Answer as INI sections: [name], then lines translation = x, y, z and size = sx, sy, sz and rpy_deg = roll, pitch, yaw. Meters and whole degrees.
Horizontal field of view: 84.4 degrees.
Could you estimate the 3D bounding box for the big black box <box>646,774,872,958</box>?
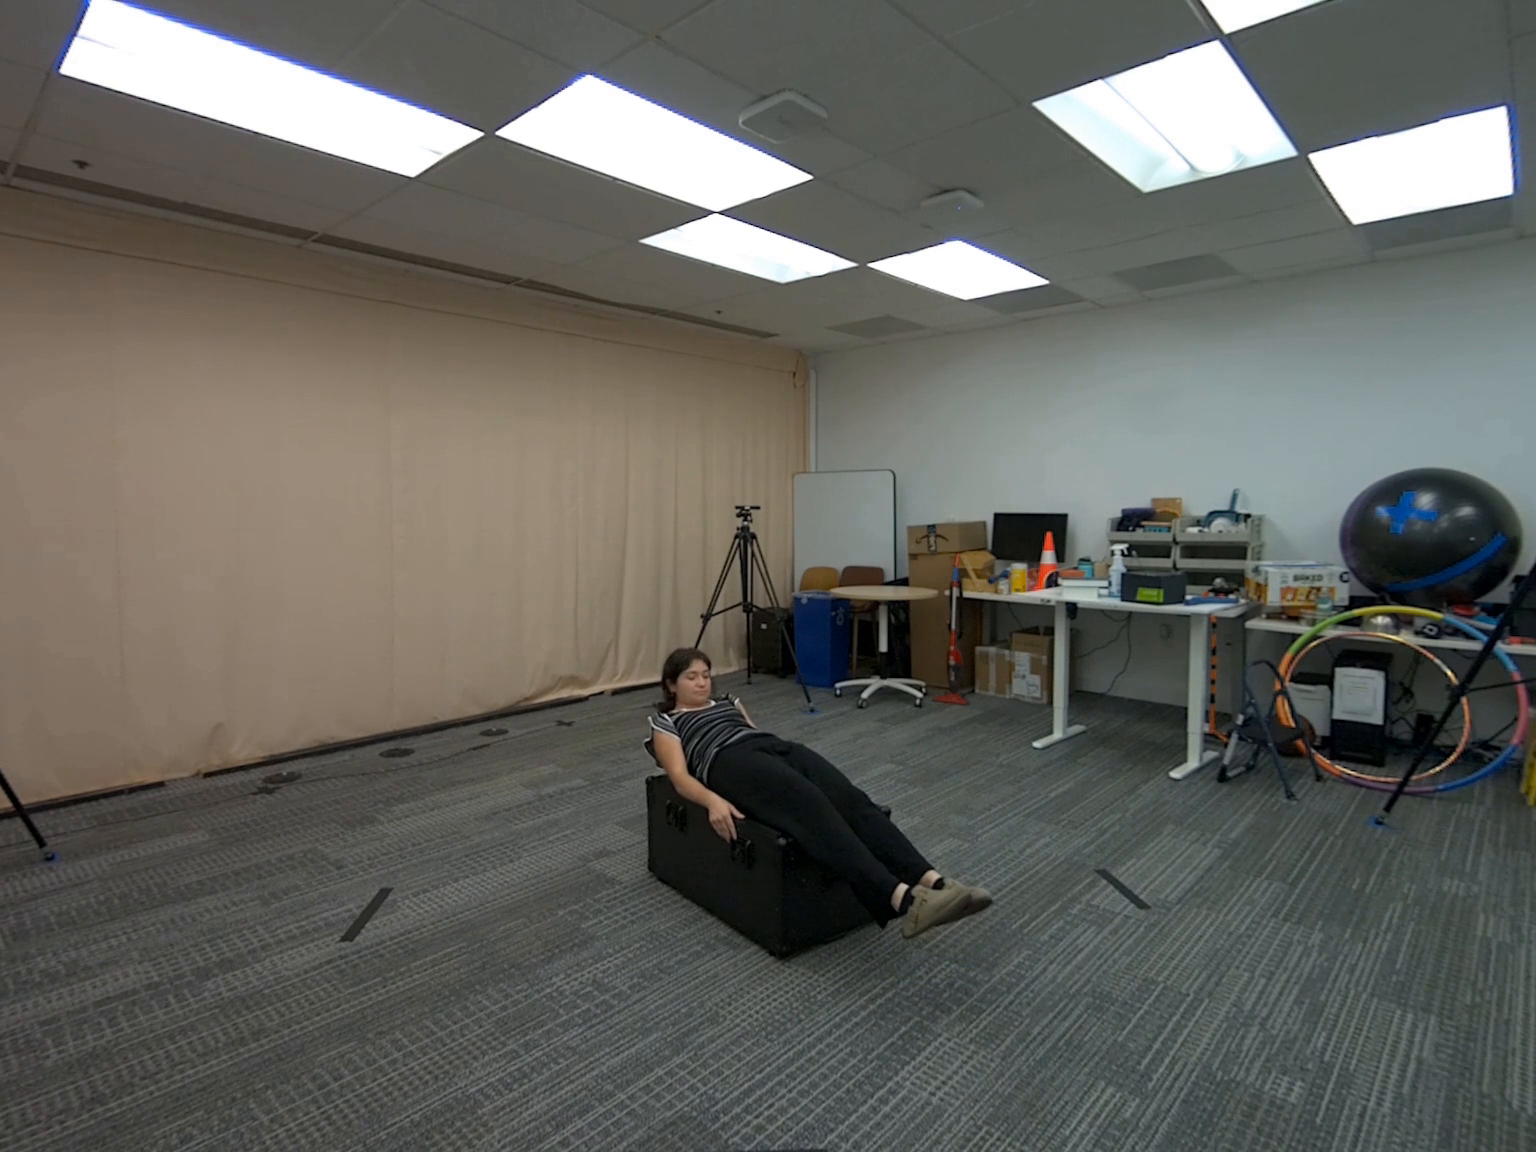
[big black box]
translation = -0.042, 0.957, 3.027
size = 0.506, 0.395, 0.890
rpy_deg = -4, 7, -38
